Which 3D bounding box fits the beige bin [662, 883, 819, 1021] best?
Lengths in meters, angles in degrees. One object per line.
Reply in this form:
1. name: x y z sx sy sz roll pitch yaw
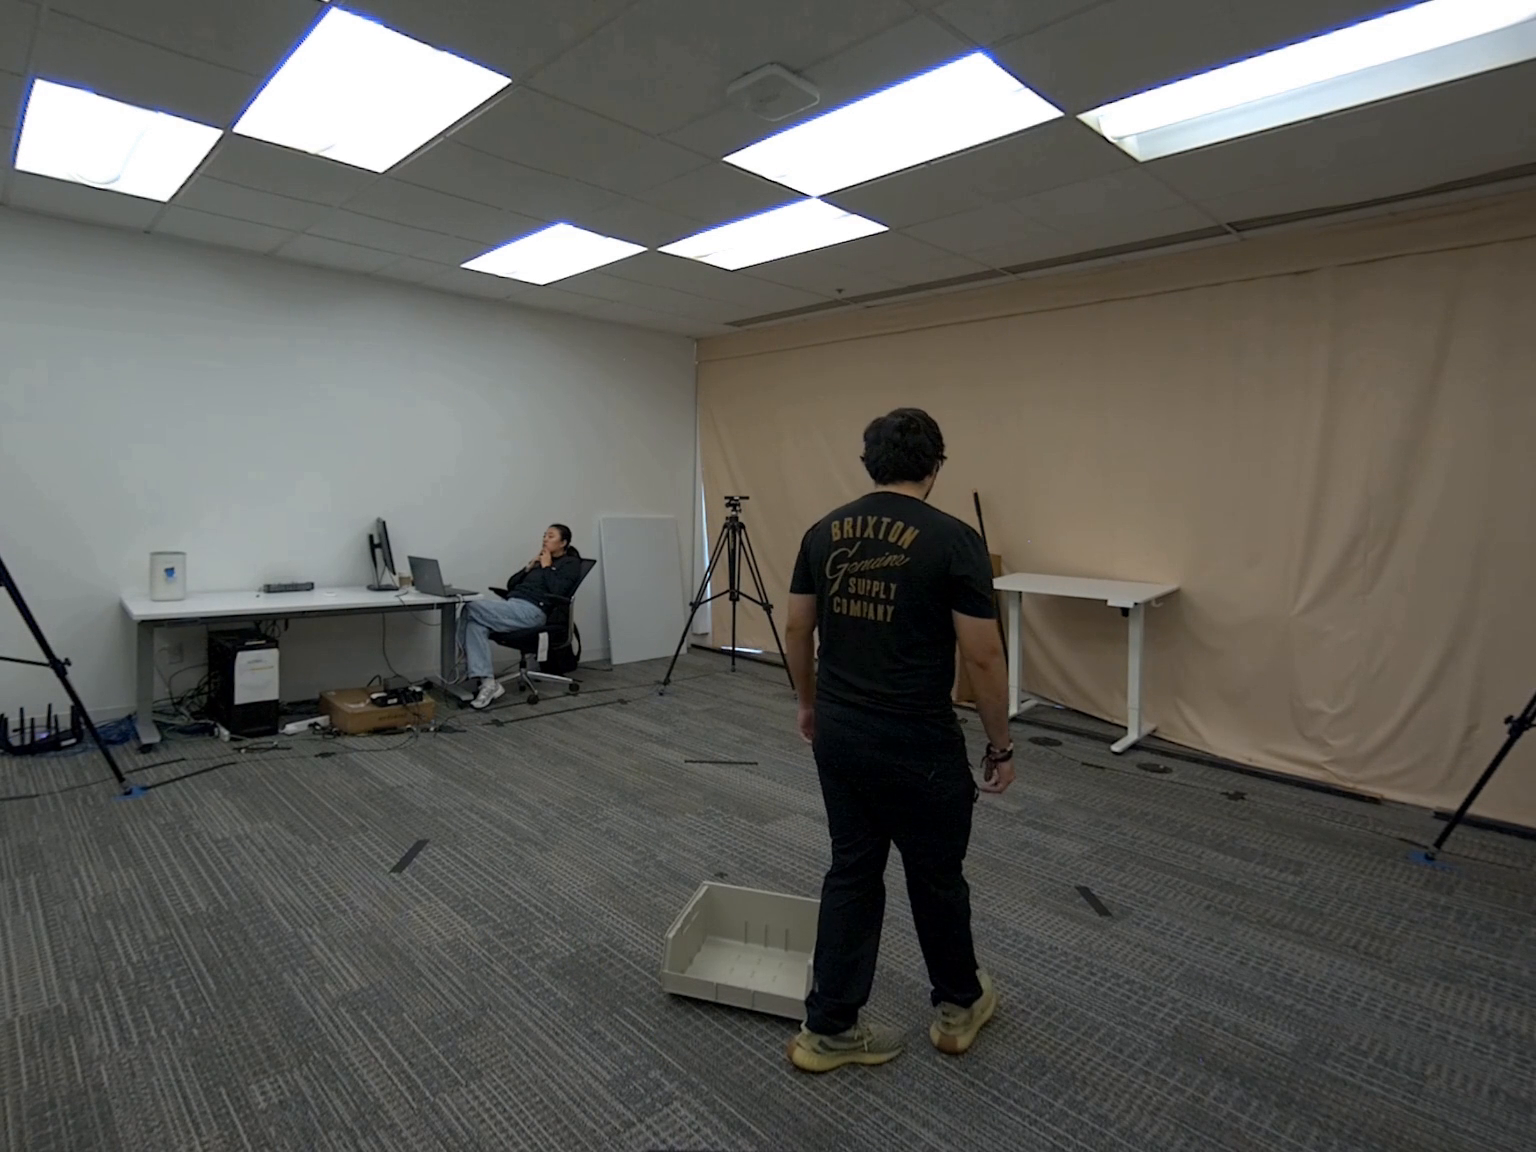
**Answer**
1. beige bin: -0.050 1.083 2.414 0.428 0.188 0.373 2 4 15
